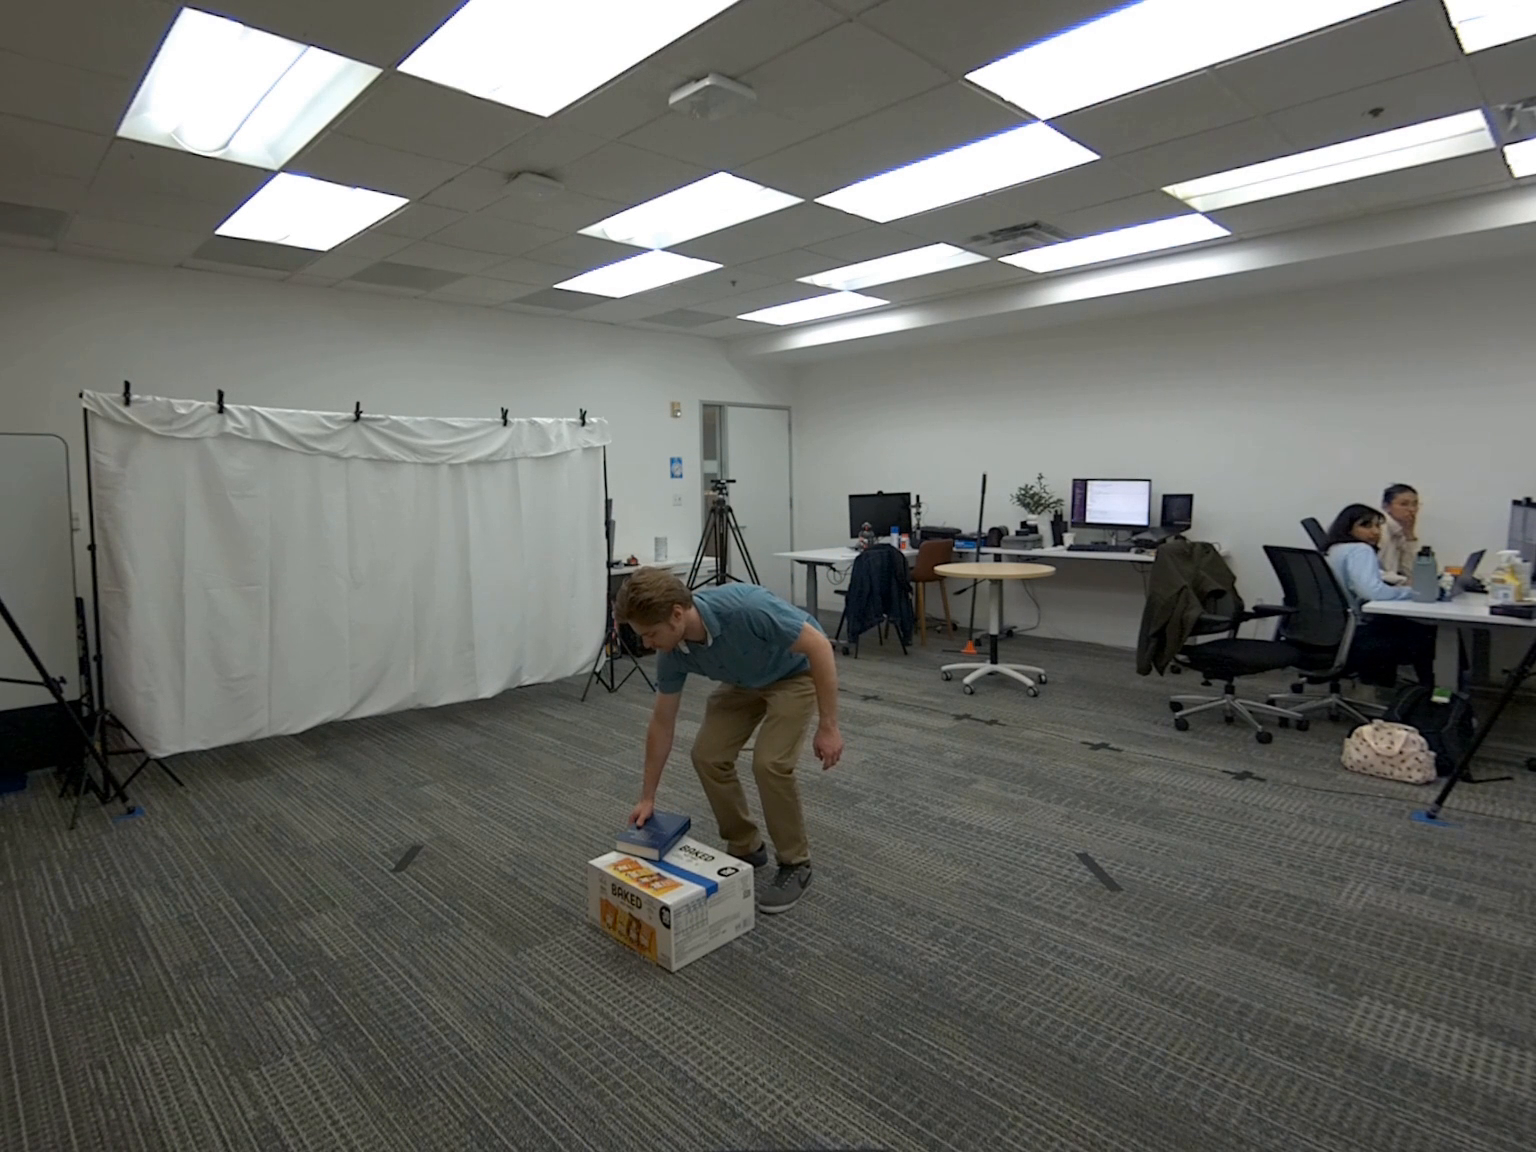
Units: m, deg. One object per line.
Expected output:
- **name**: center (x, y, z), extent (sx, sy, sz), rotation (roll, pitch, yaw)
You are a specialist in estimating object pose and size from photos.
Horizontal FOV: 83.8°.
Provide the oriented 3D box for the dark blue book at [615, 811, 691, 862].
- **dark blue book**: center (-0.374, 0.864, 2.843), extent (0.167, 0.045, 0.242), rotation (4, 11, 20)
